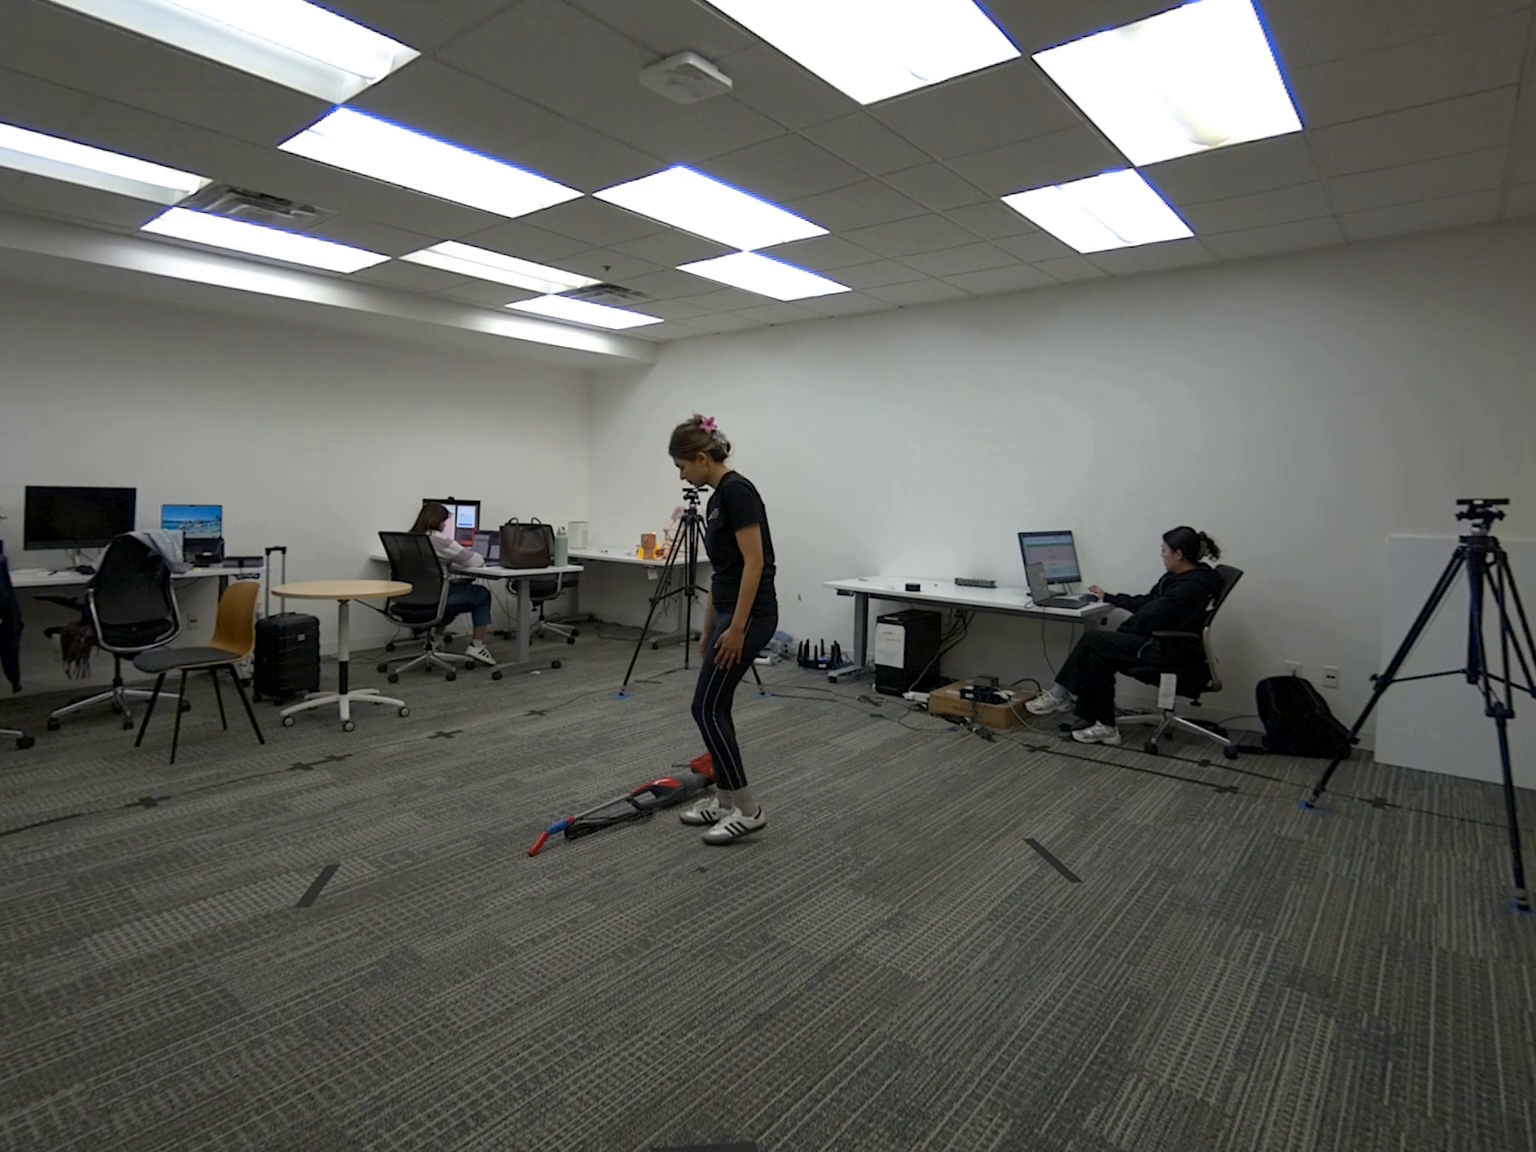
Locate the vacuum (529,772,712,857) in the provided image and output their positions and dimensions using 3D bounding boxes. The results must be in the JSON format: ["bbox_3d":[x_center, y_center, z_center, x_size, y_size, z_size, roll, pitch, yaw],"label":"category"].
[{"bbox_3d":[-0.592,0.973,3.589,0.255,0.146,1.023,-33,-12,38],"label":"vacuum"}]
